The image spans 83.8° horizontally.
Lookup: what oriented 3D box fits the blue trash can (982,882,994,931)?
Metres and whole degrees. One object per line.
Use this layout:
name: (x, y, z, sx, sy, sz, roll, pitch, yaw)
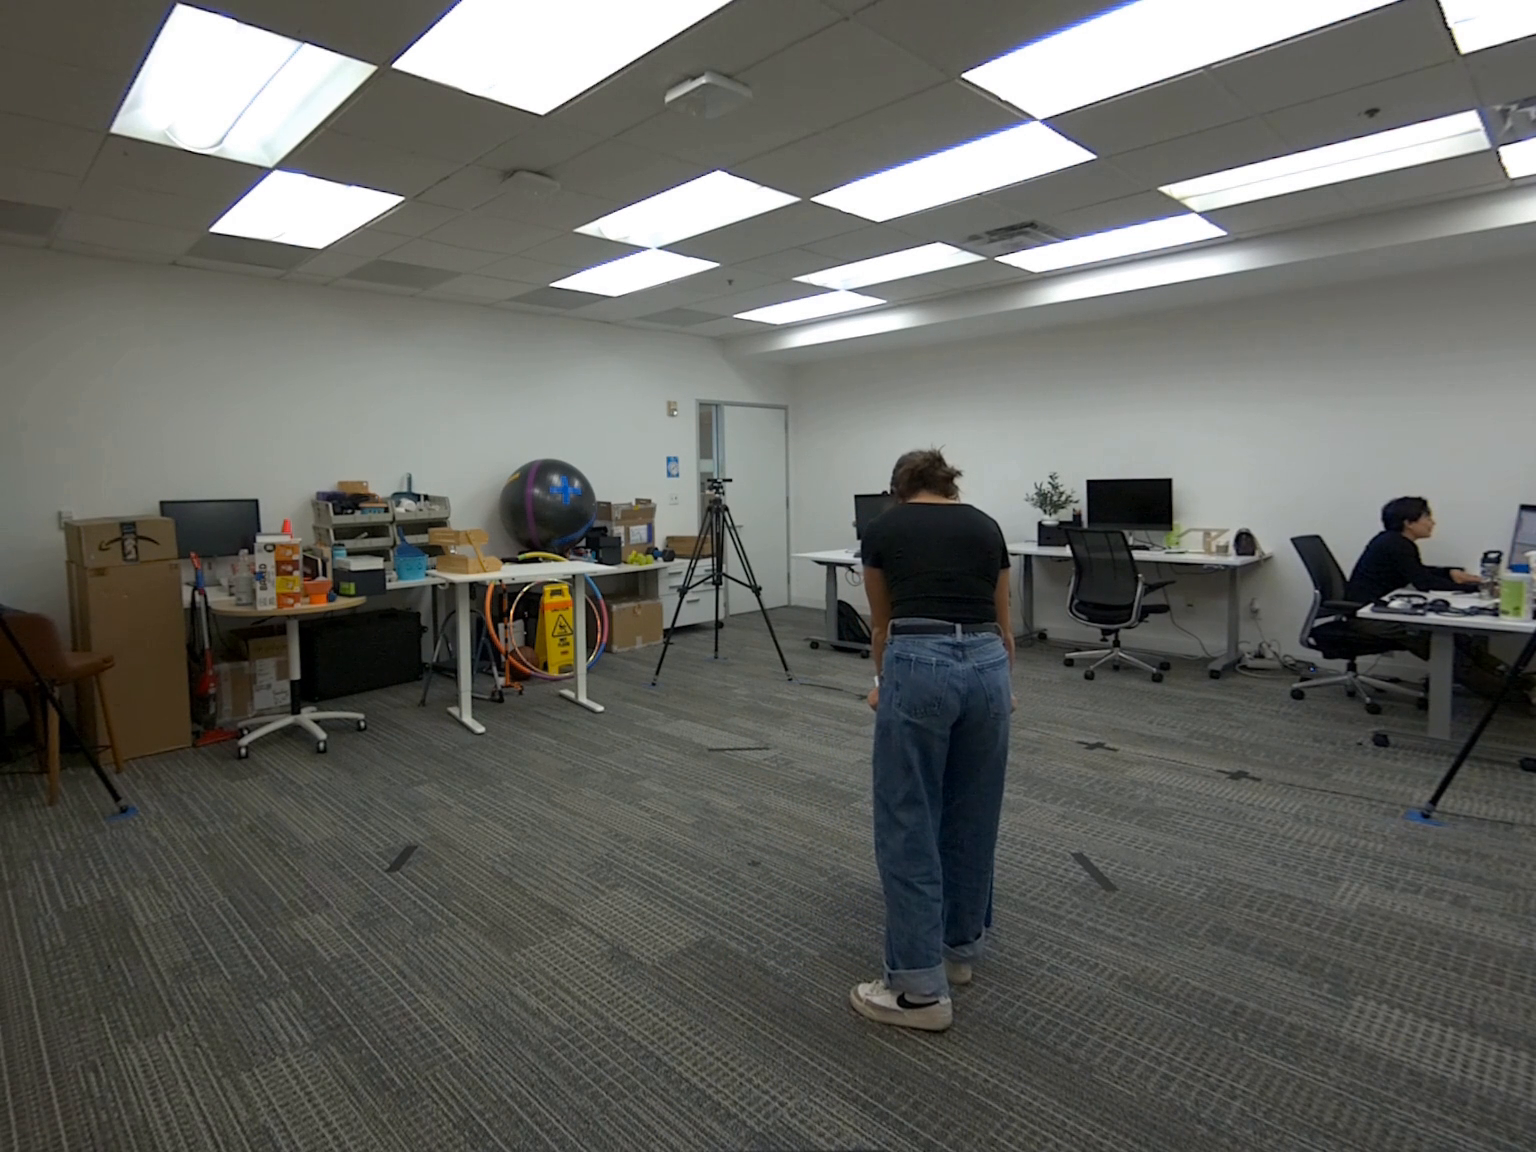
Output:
blue trash can: (0.555, 0.722, 2.773, 0.376, 0.711, 0.377, 0, 4, 5)
